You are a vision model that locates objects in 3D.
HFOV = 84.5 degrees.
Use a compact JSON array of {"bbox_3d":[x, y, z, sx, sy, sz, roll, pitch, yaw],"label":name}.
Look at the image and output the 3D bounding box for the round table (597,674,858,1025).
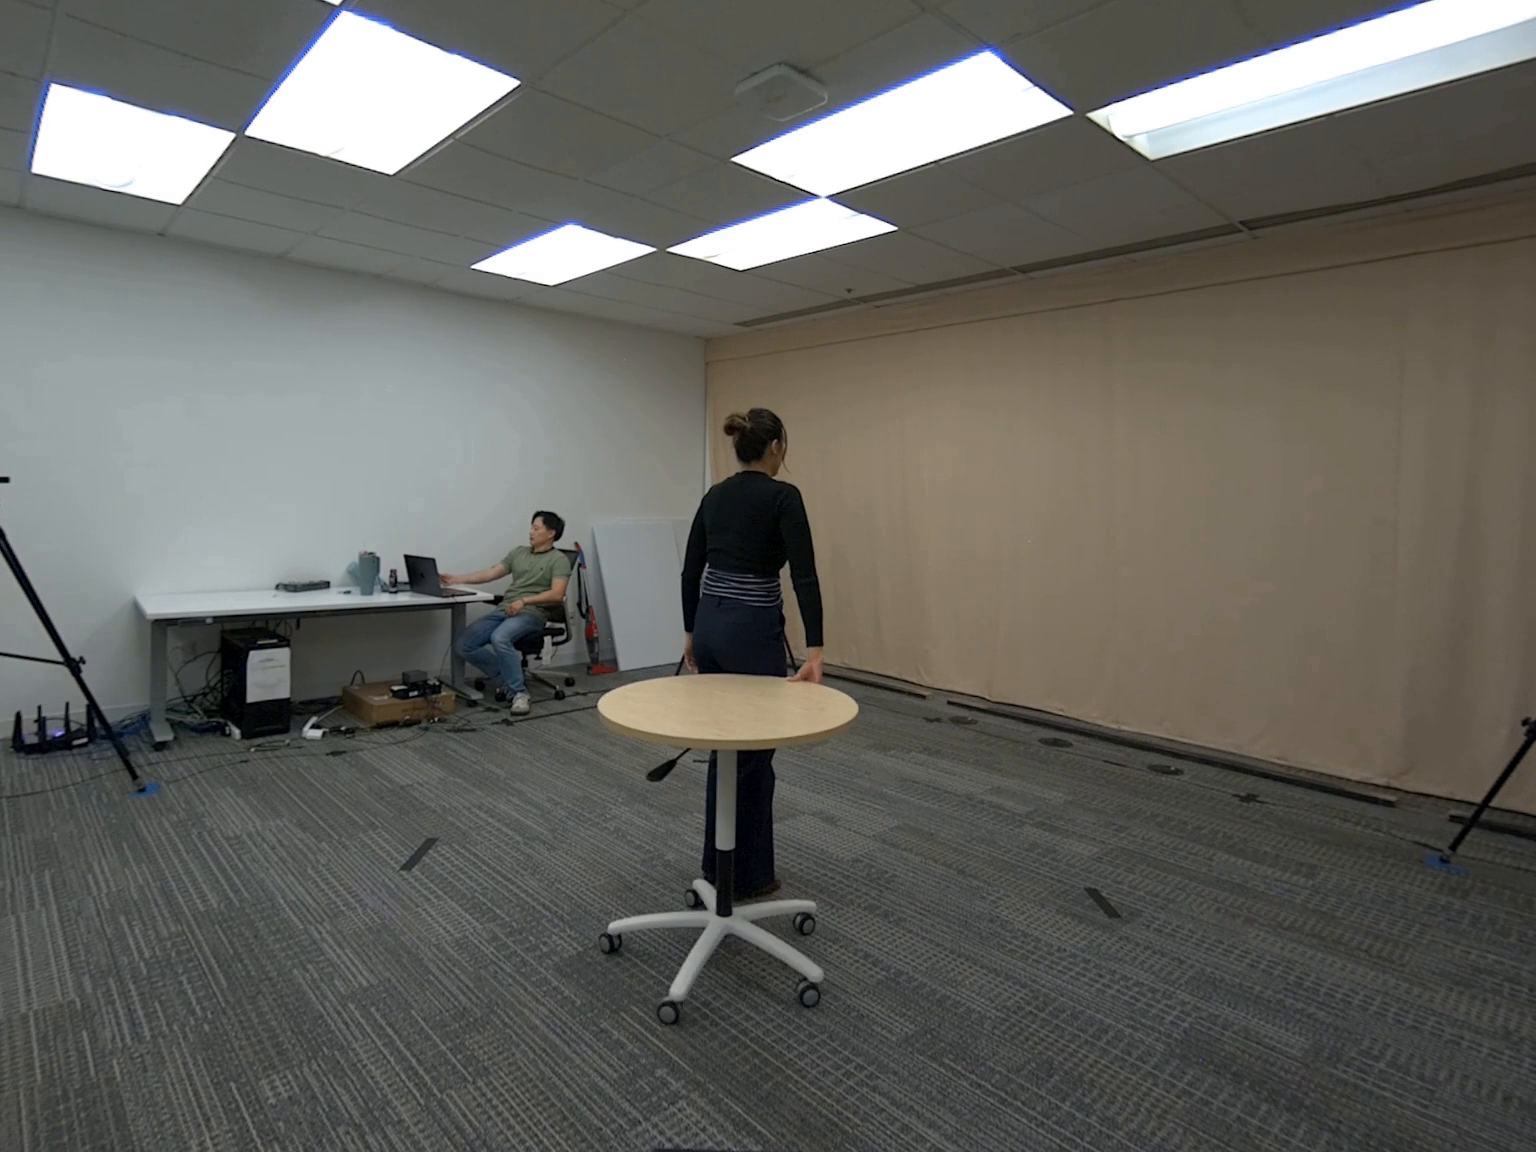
[{"bbox_3d":[-0.132,0.772,2.512,0.763,0.792,0.767,1,4,-1],"label":"round table"}]
